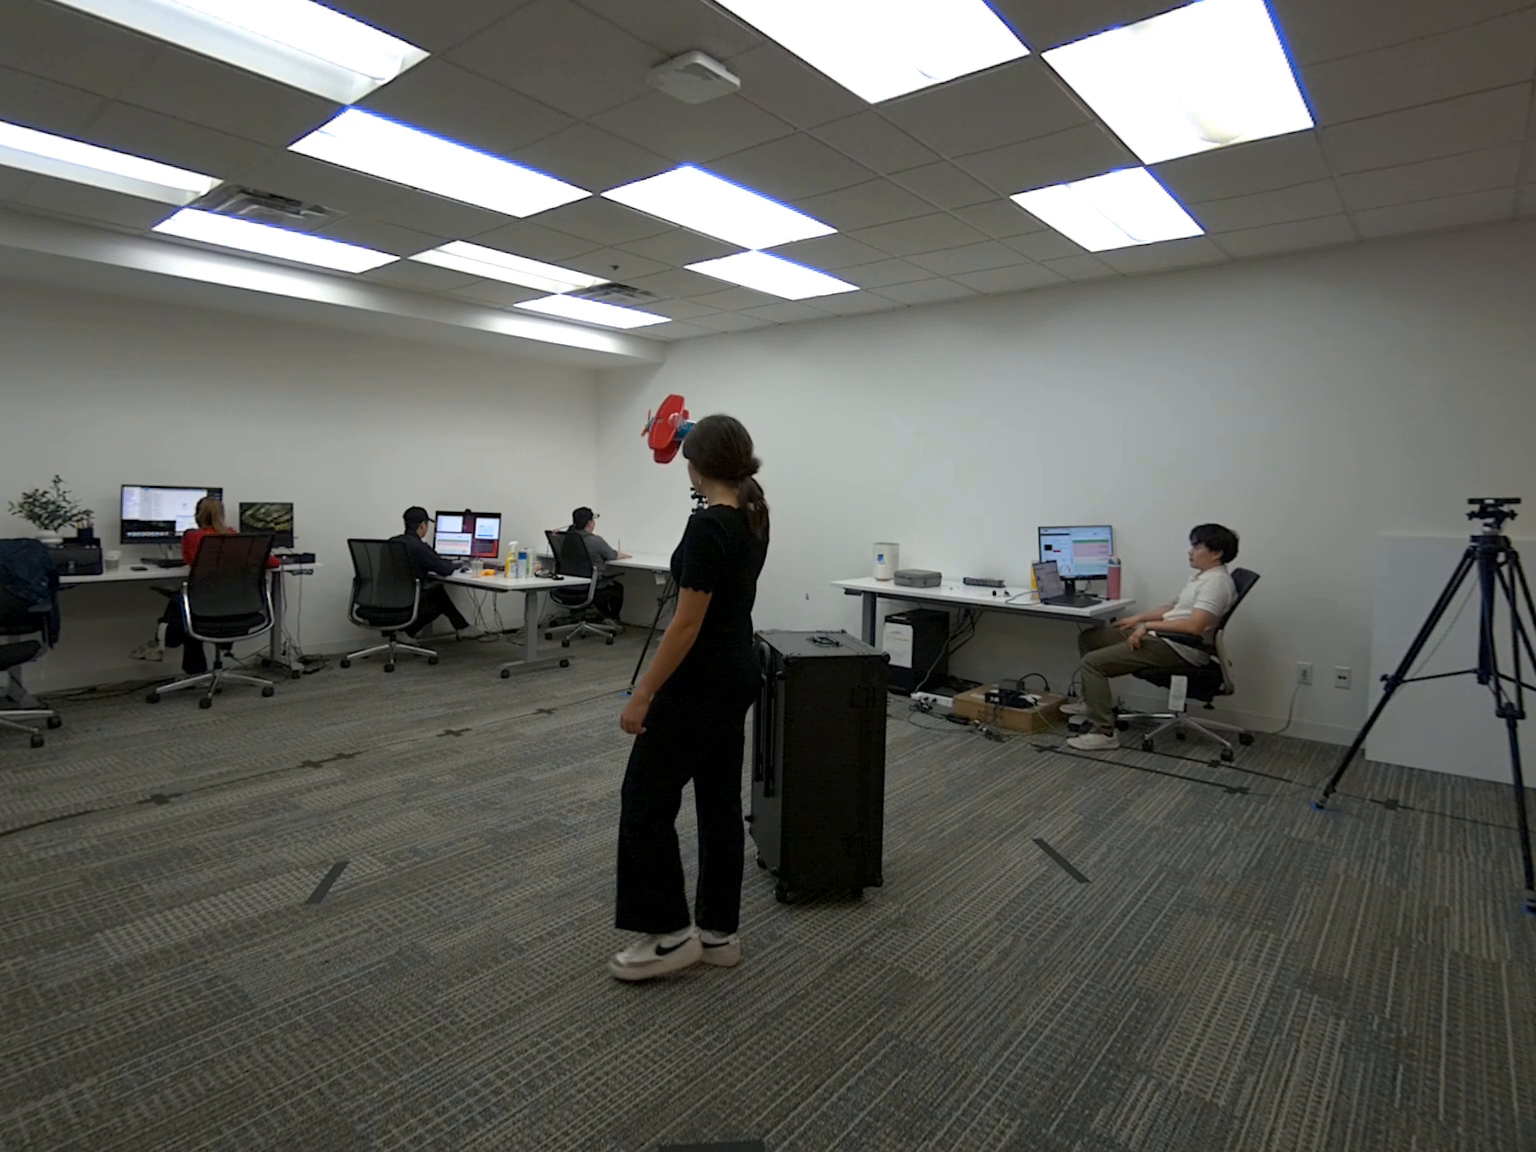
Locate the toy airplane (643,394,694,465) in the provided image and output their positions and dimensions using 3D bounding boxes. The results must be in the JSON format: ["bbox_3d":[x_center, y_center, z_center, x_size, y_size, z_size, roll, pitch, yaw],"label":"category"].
[{"bbox_3d":[-0.321,-0.532,3.086,0.261,0.260,0.150,-24,-41,11],"label":"toy airplane"}]
